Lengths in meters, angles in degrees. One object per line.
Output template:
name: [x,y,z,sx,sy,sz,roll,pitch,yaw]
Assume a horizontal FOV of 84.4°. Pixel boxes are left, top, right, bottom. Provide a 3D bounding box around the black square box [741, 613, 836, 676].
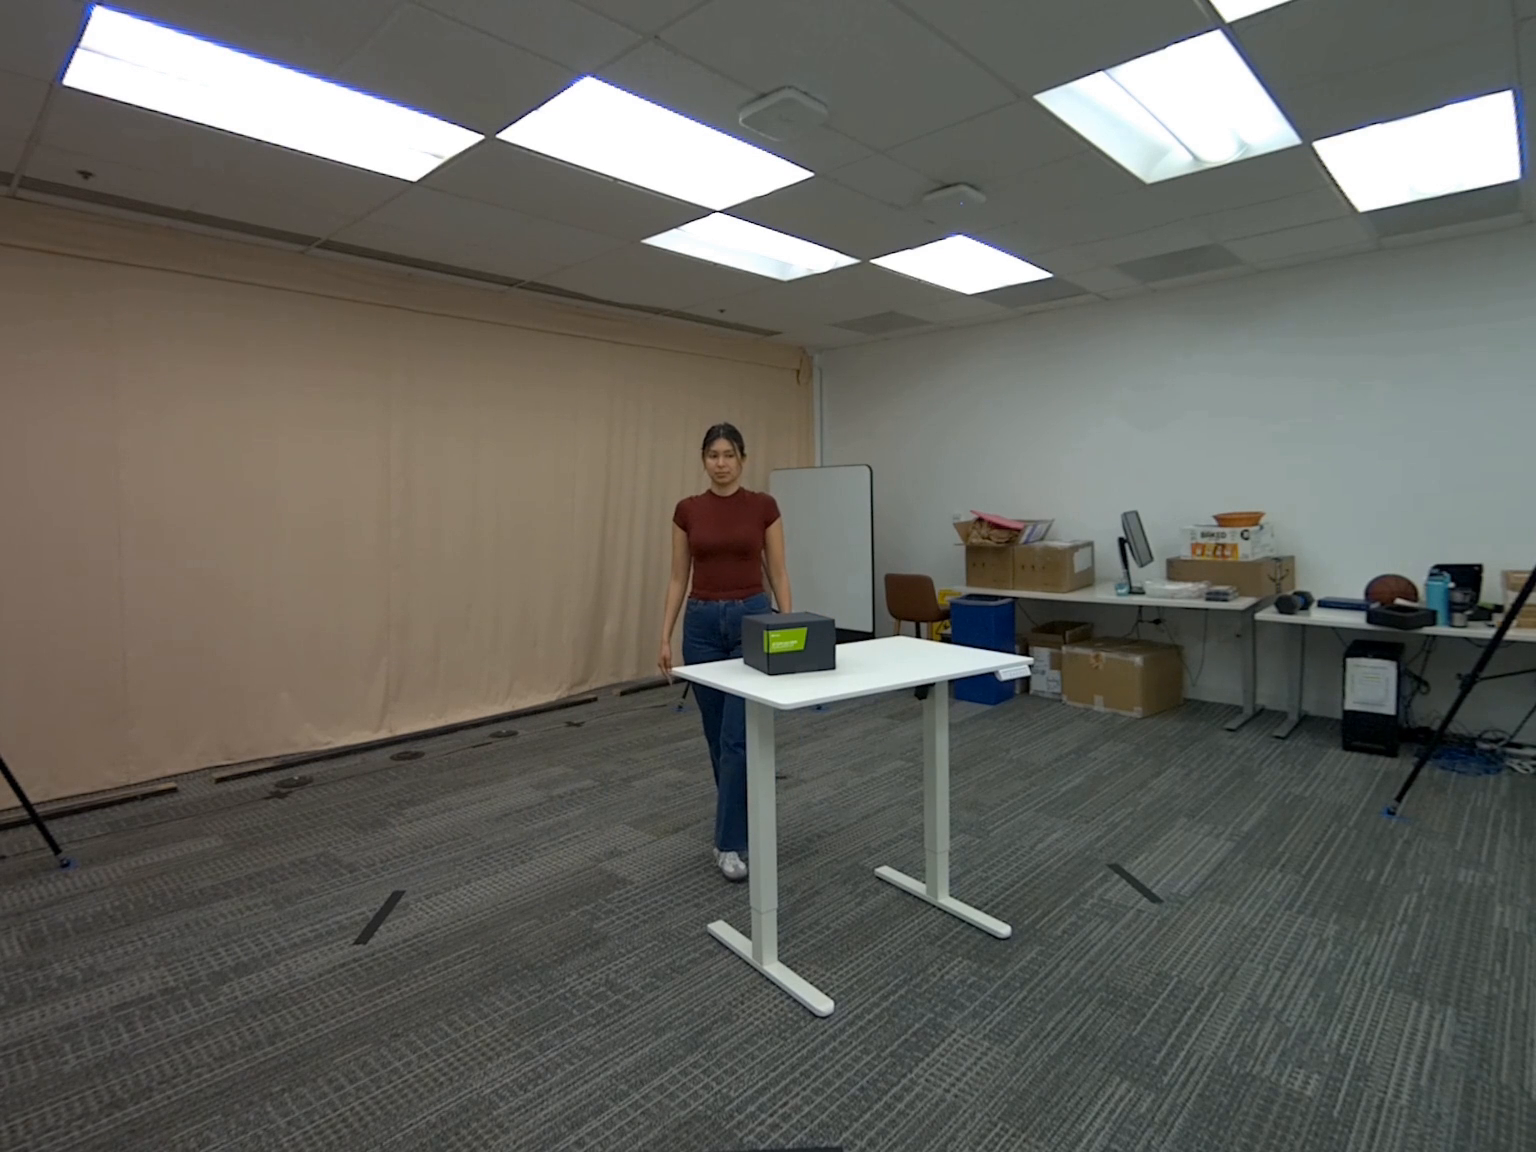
black square box: [0.066,0.206,2.643,0.223,0.155,0.222,-3,4,-20]
